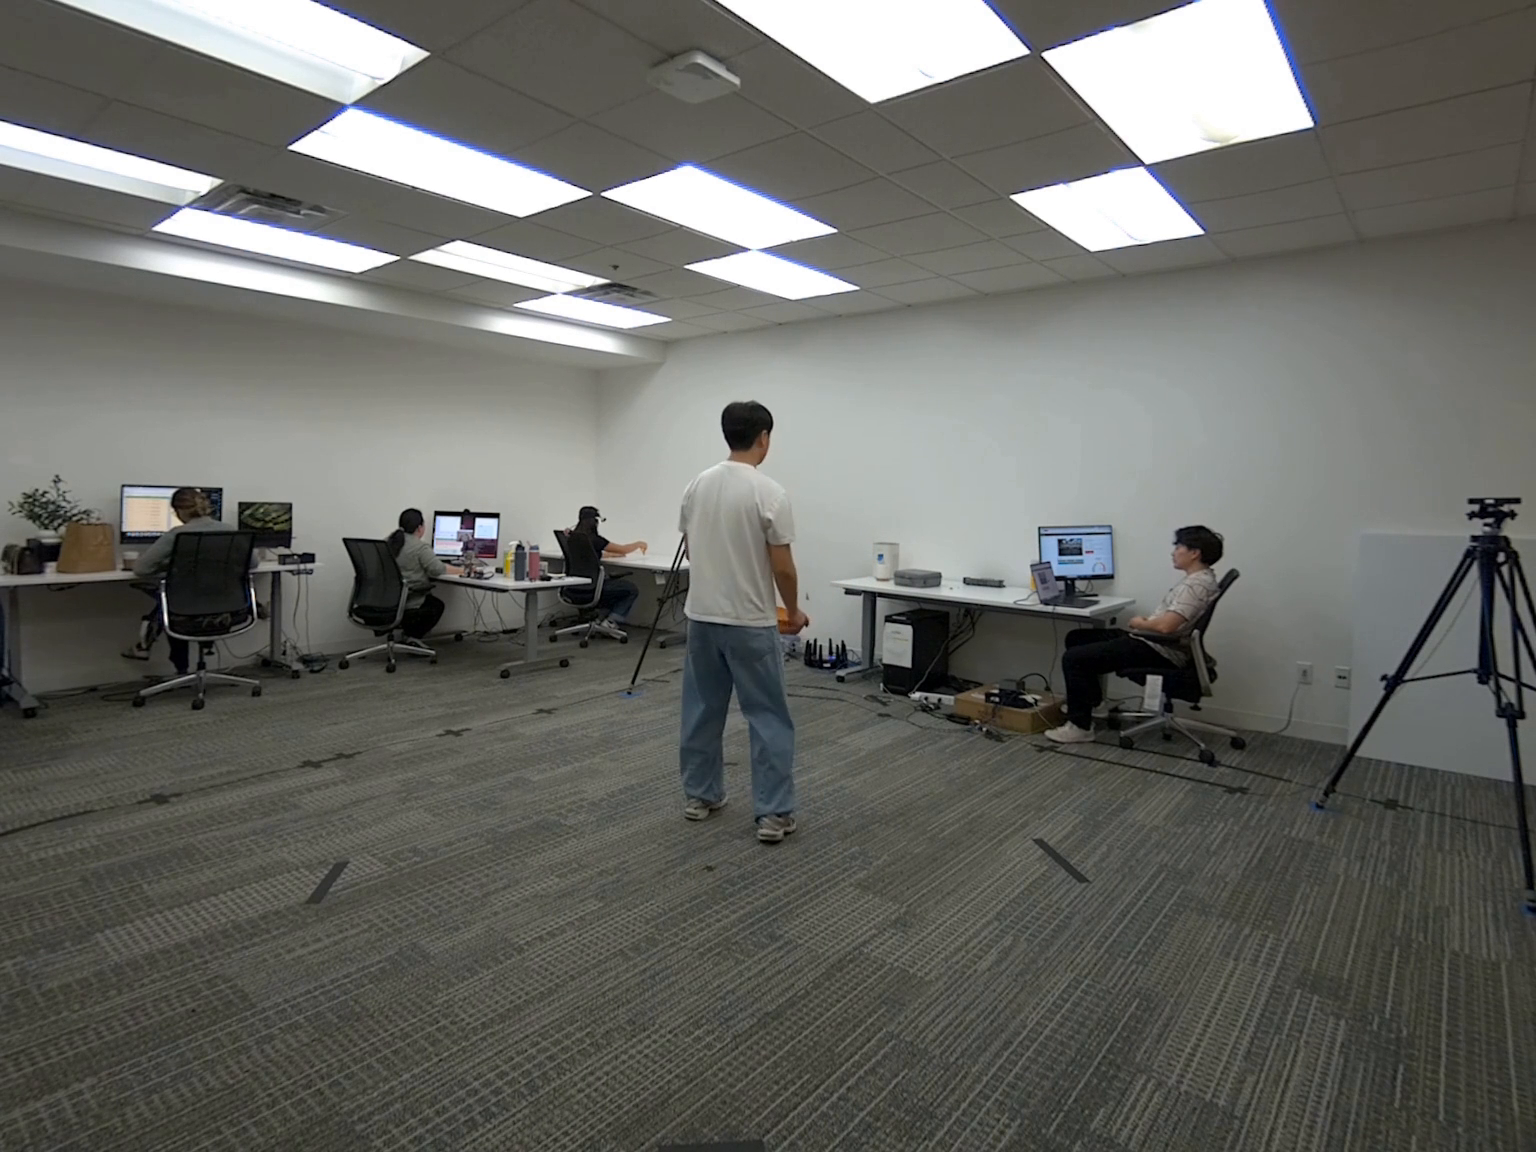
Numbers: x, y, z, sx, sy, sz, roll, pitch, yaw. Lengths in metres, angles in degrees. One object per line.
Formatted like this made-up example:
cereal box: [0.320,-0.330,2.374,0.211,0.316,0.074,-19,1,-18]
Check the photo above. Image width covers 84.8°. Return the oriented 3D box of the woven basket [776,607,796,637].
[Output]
woven basket: [0.006,0.186,3.711,0.363,0.073,0.244,13,8,36]
